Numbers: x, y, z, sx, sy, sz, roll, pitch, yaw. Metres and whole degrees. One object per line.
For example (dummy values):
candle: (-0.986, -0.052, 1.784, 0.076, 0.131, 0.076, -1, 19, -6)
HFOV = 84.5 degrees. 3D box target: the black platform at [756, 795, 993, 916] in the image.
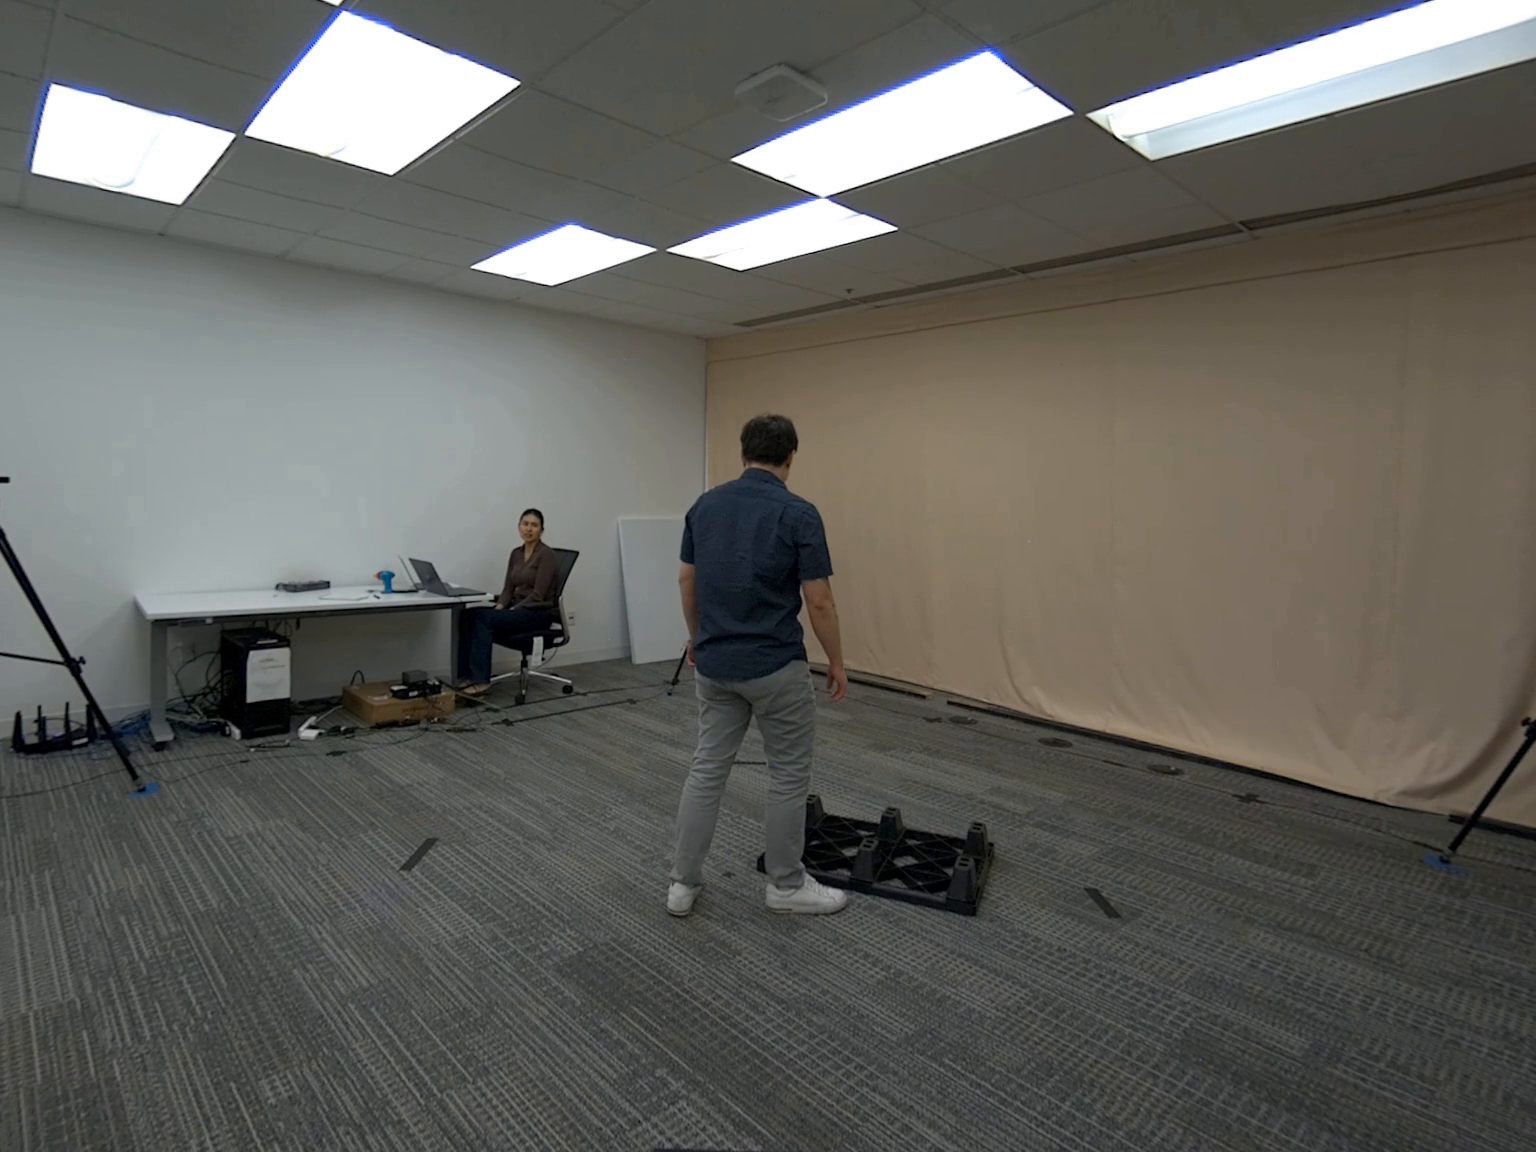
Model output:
black platform: (0.428, 1.037, 3.257, 0.820, 0.143, 0.596, 4, 6, 22)
